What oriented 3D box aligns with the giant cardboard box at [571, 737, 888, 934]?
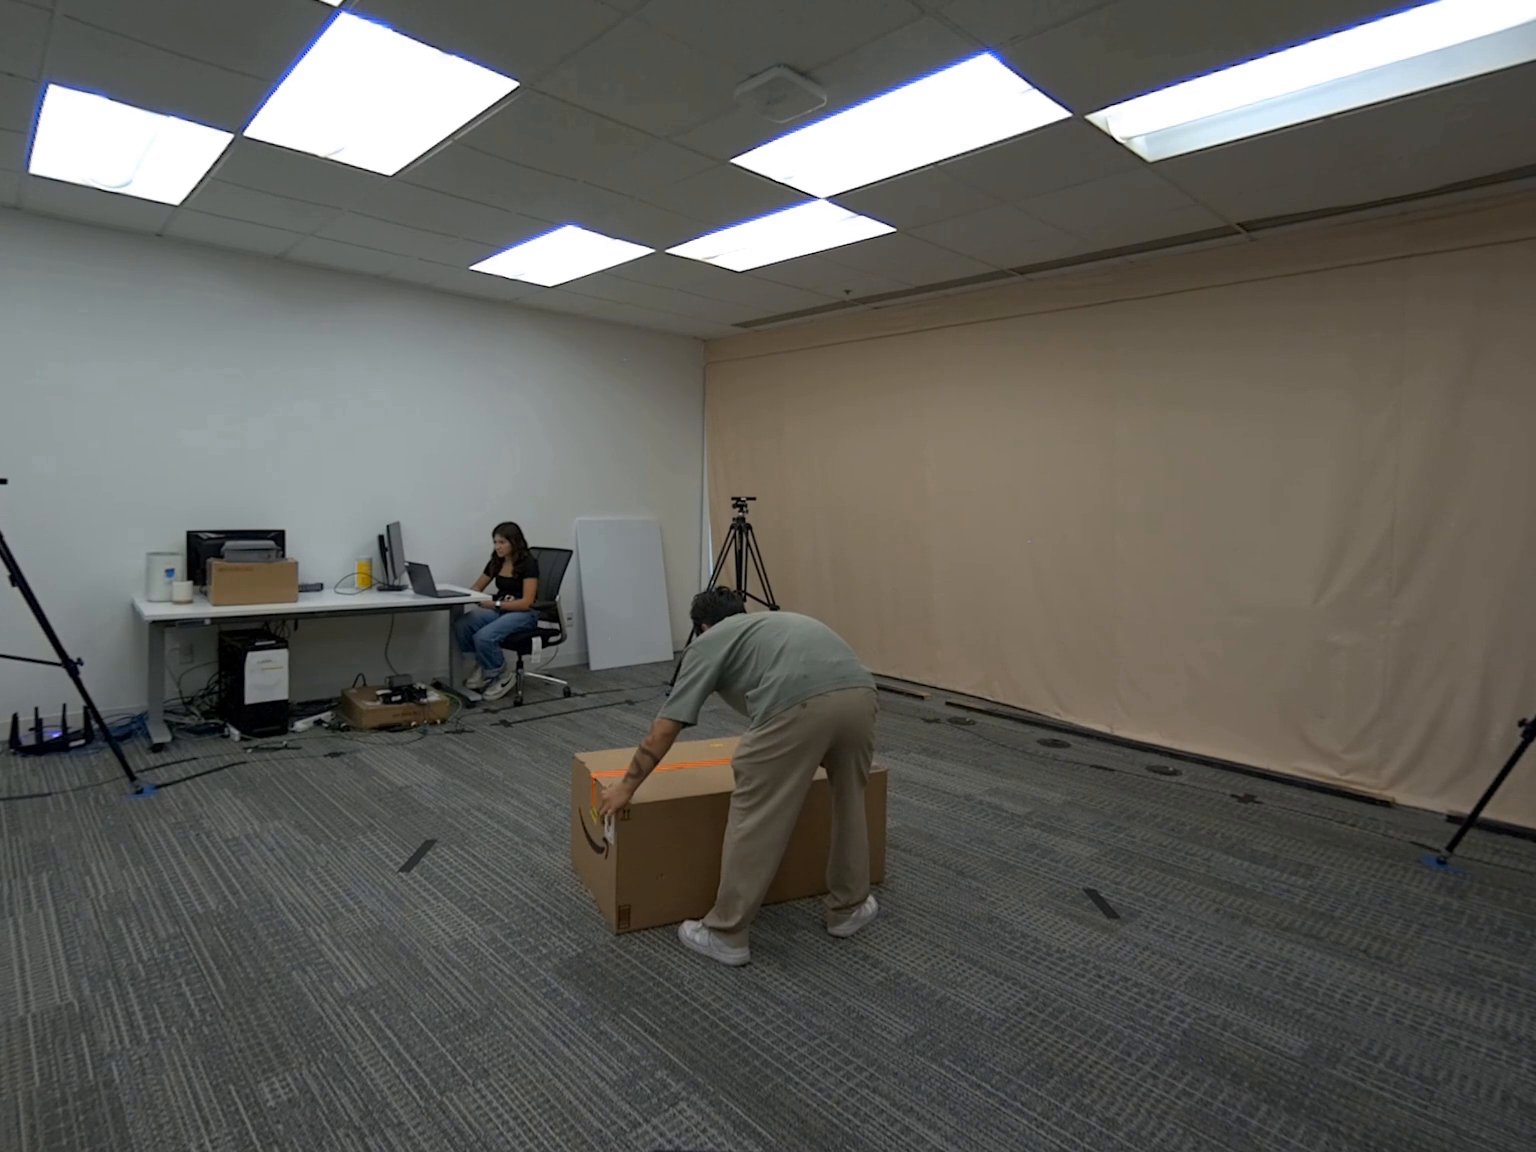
[{"bbox_3d":[-0.159,0.887,3.117,1.007,0.425,0.590,-1,5,-25],"label":"giant cardboard box"}]
